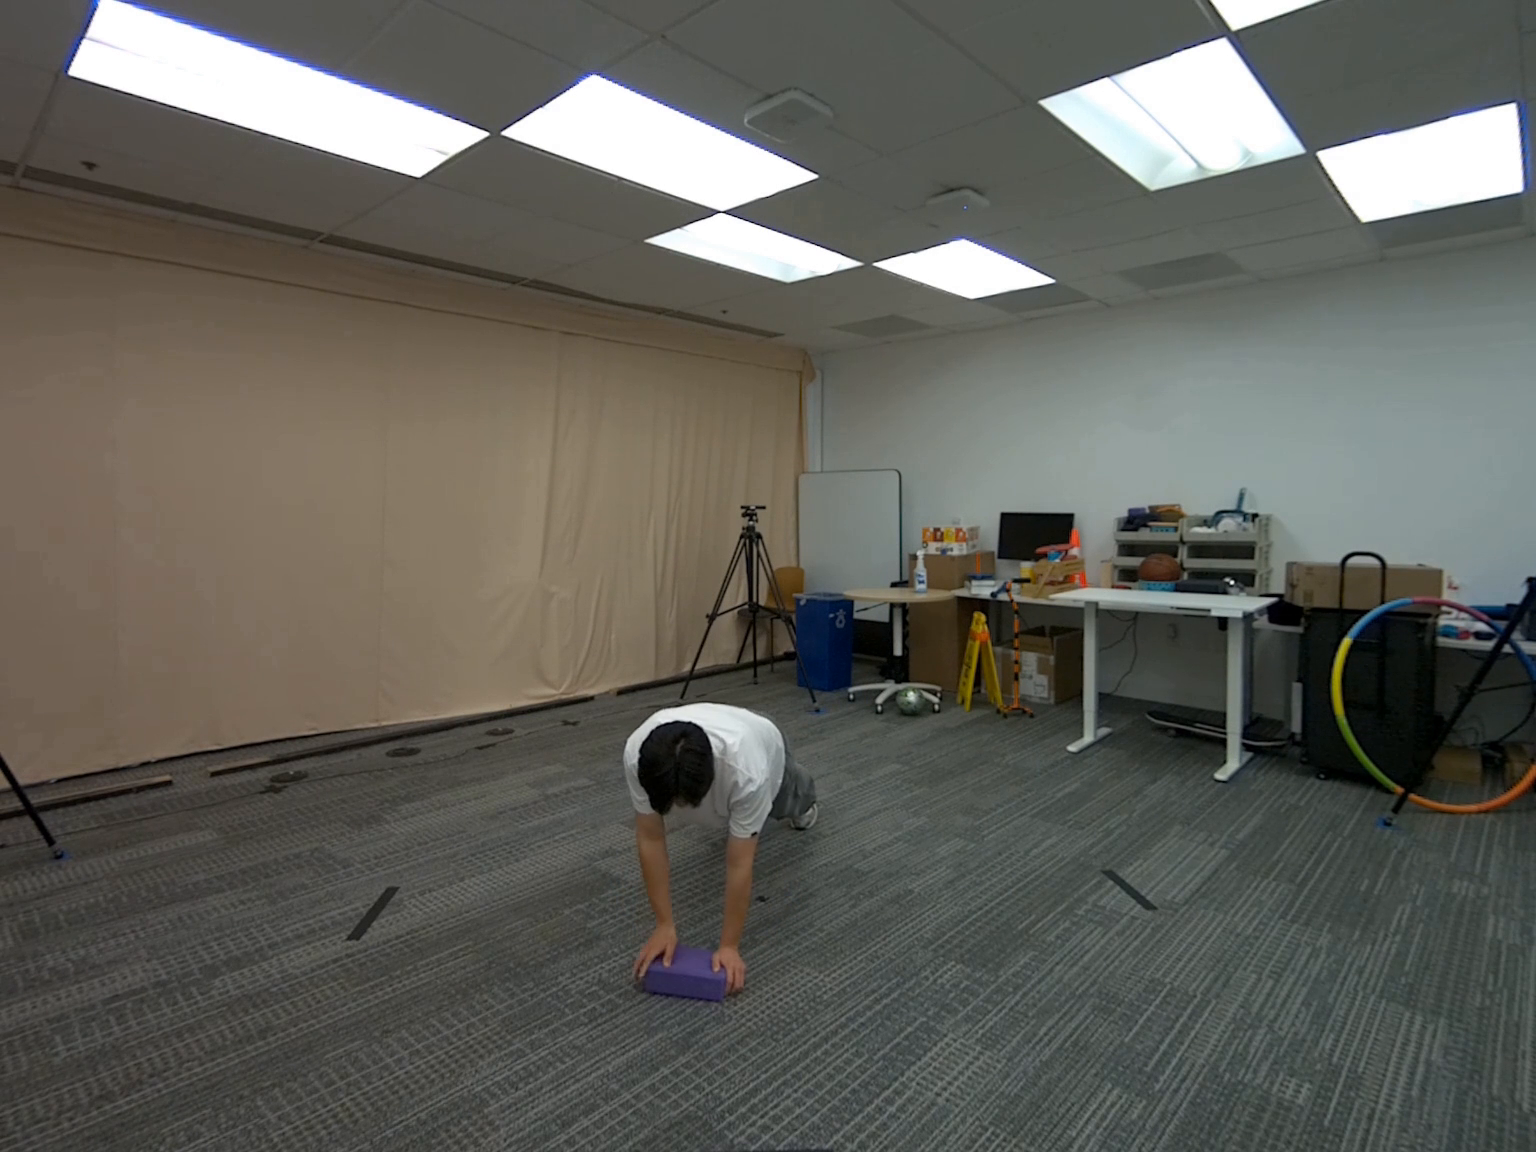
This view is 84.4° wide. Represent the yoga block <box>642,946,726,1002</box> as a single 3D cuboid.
[{"bbox_3d":[-0.228,1.147,2.449,0.232,0.076,0.147,1,6,11],"label":"yoga block"}]
